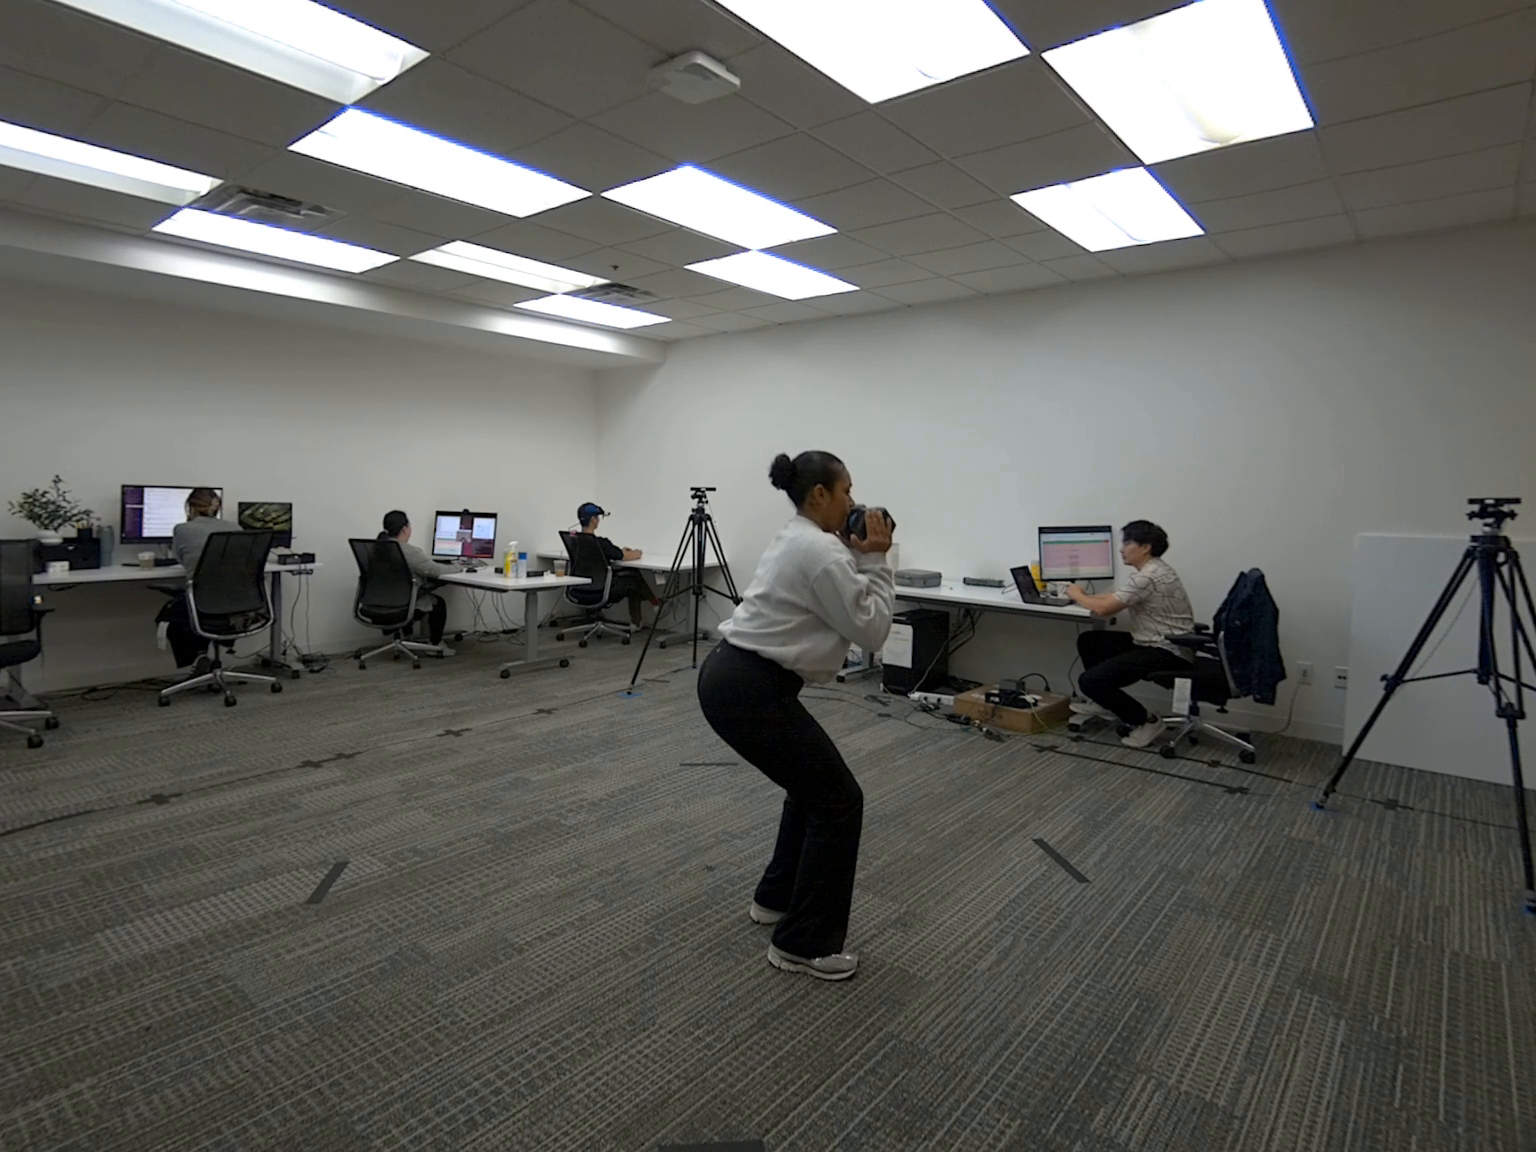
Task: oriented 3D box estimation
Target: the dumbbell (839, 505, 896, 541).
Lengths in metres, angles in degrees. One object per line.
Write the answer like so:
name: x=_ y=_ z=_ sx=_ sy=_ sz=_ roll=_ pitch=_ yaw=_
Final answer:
dumbbell: x=0.279 y=-0.150 z=2.601 sx=0.108 sy=0.121 sz=0.297 roll=-38 pitch=11 yaw=-1
